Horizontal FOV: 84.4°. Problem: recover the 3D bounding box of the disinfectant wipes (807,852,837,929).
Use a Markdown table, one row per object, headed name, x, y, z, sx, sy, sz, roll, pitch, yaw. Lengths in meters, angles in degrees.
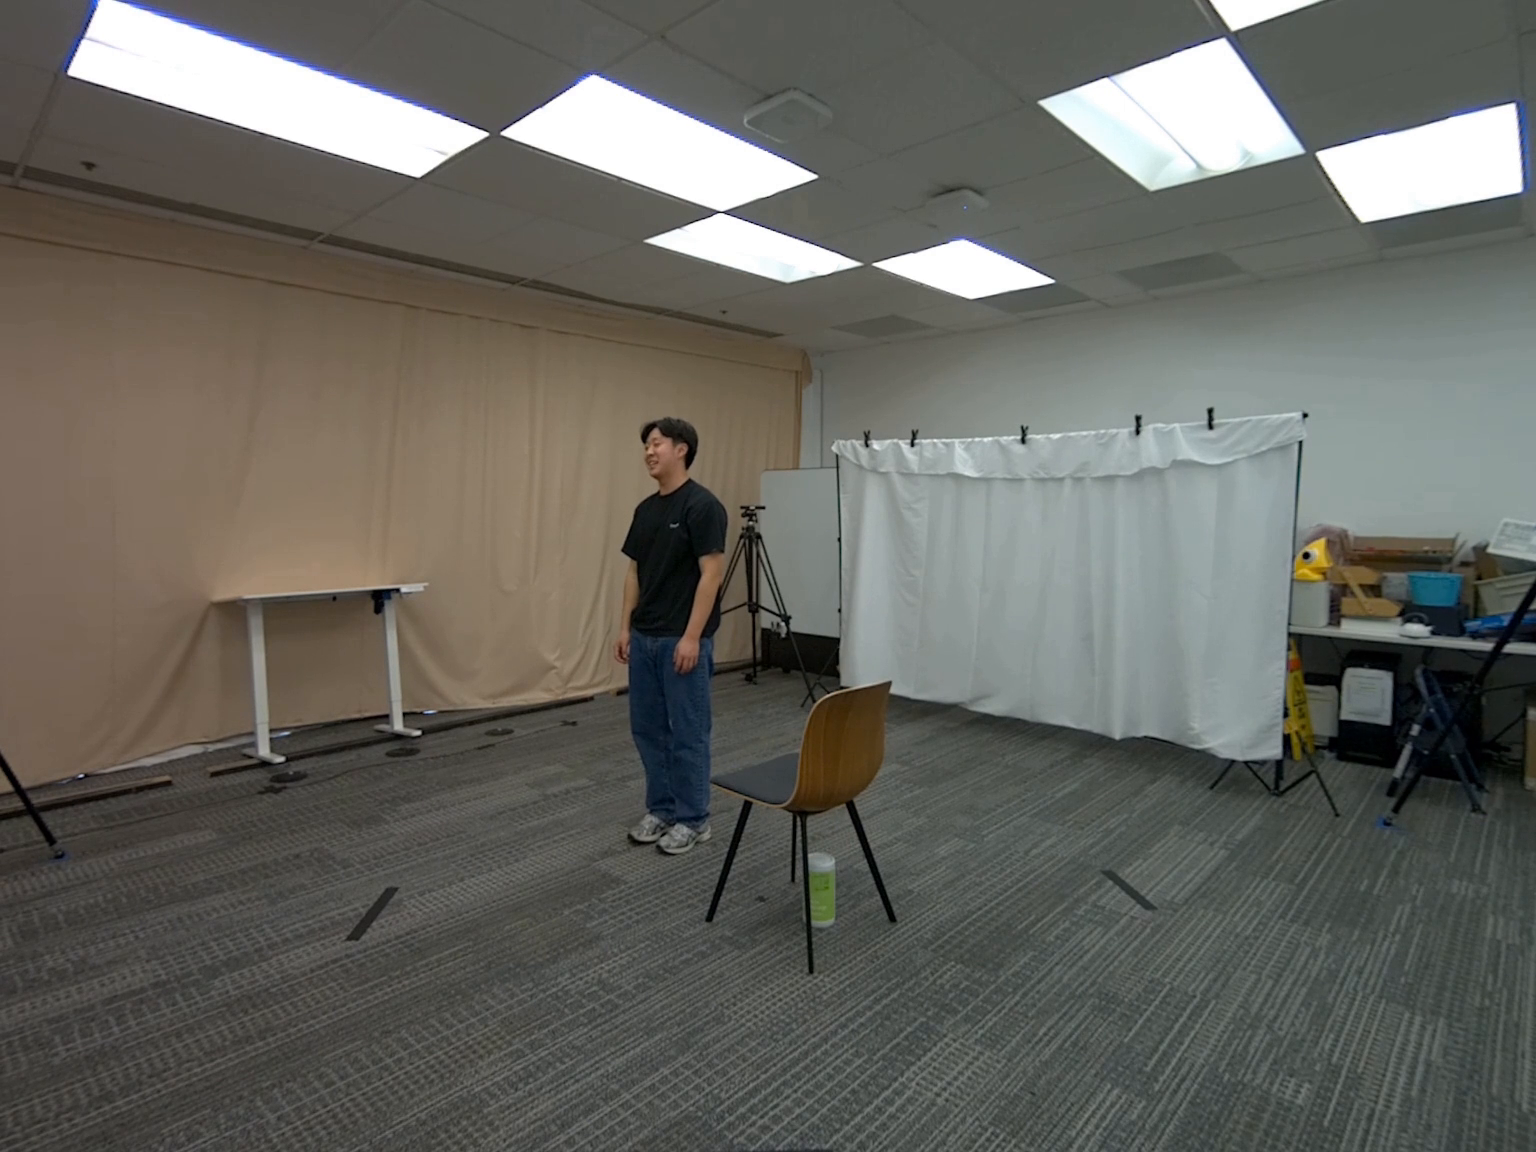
| name | x | y | z | sx | sy | sz | roll | pitch | yaw |
| --- | --- | --- | --- | --- | --- | --- | --- | --- | --- |
| disinfectant wipes | 0.169 | 1.045 | 2.818 | 0.118 | 0.217 | 0.118 | 0 | 2 | -2 |
